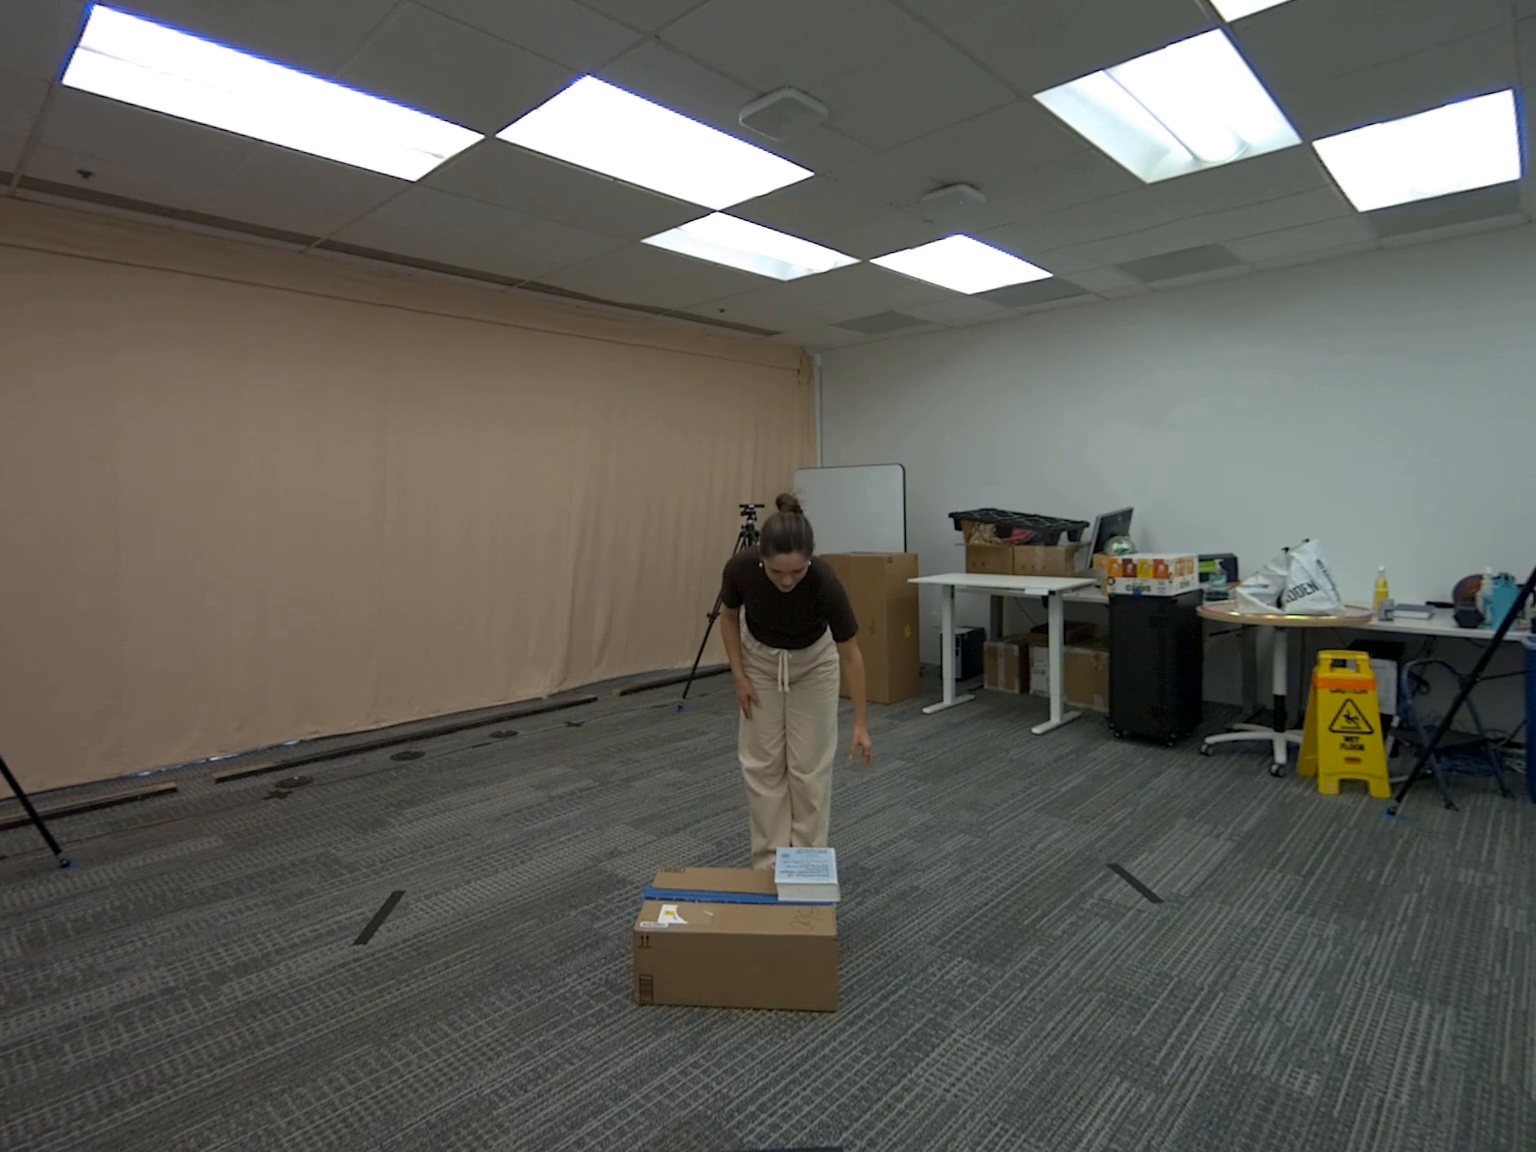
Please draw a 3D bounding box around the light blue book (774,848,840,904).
[{"bbox_3d":[0.118,0.917,2.621,0.192,0.059,0.260,-2,4,3],"label":"light blue book"}]
